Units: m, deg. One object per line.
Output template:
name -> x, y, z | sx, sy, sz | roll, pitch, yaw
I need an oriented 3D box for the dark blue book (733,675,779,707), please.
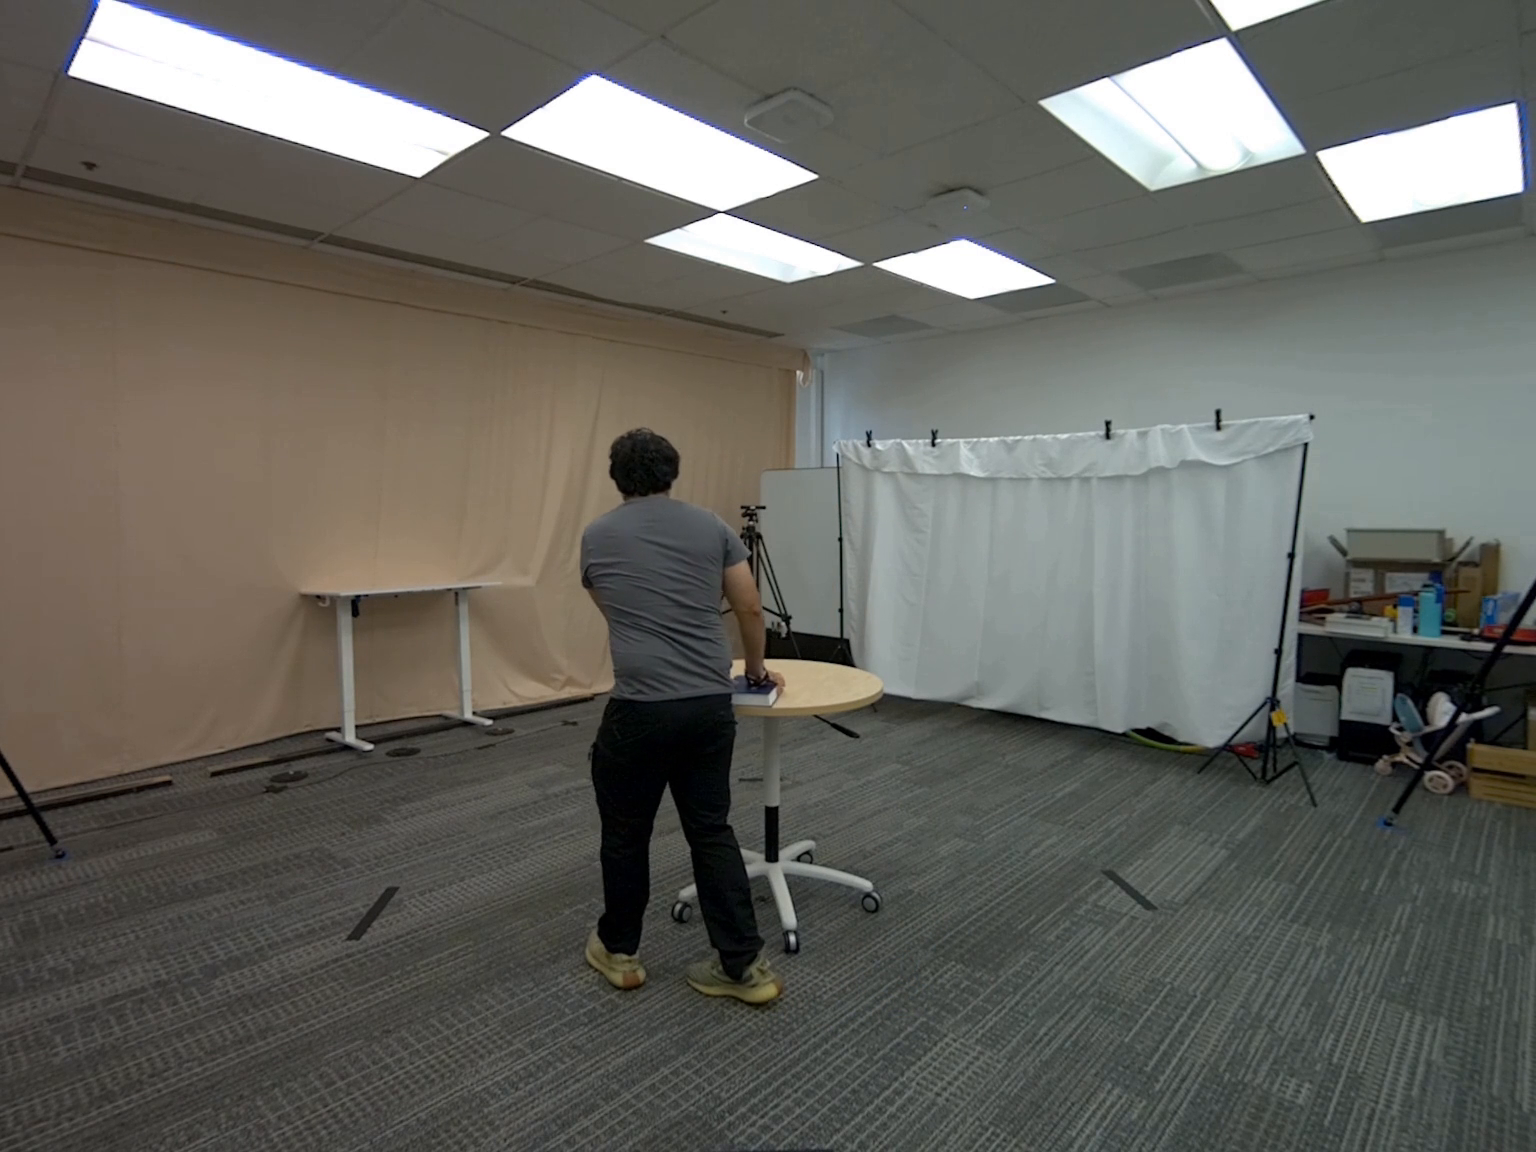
dark blue book -> -0.045, 0.367, 2.698 | 0.165, 0.045, 0.243 | 1, 6, 9
